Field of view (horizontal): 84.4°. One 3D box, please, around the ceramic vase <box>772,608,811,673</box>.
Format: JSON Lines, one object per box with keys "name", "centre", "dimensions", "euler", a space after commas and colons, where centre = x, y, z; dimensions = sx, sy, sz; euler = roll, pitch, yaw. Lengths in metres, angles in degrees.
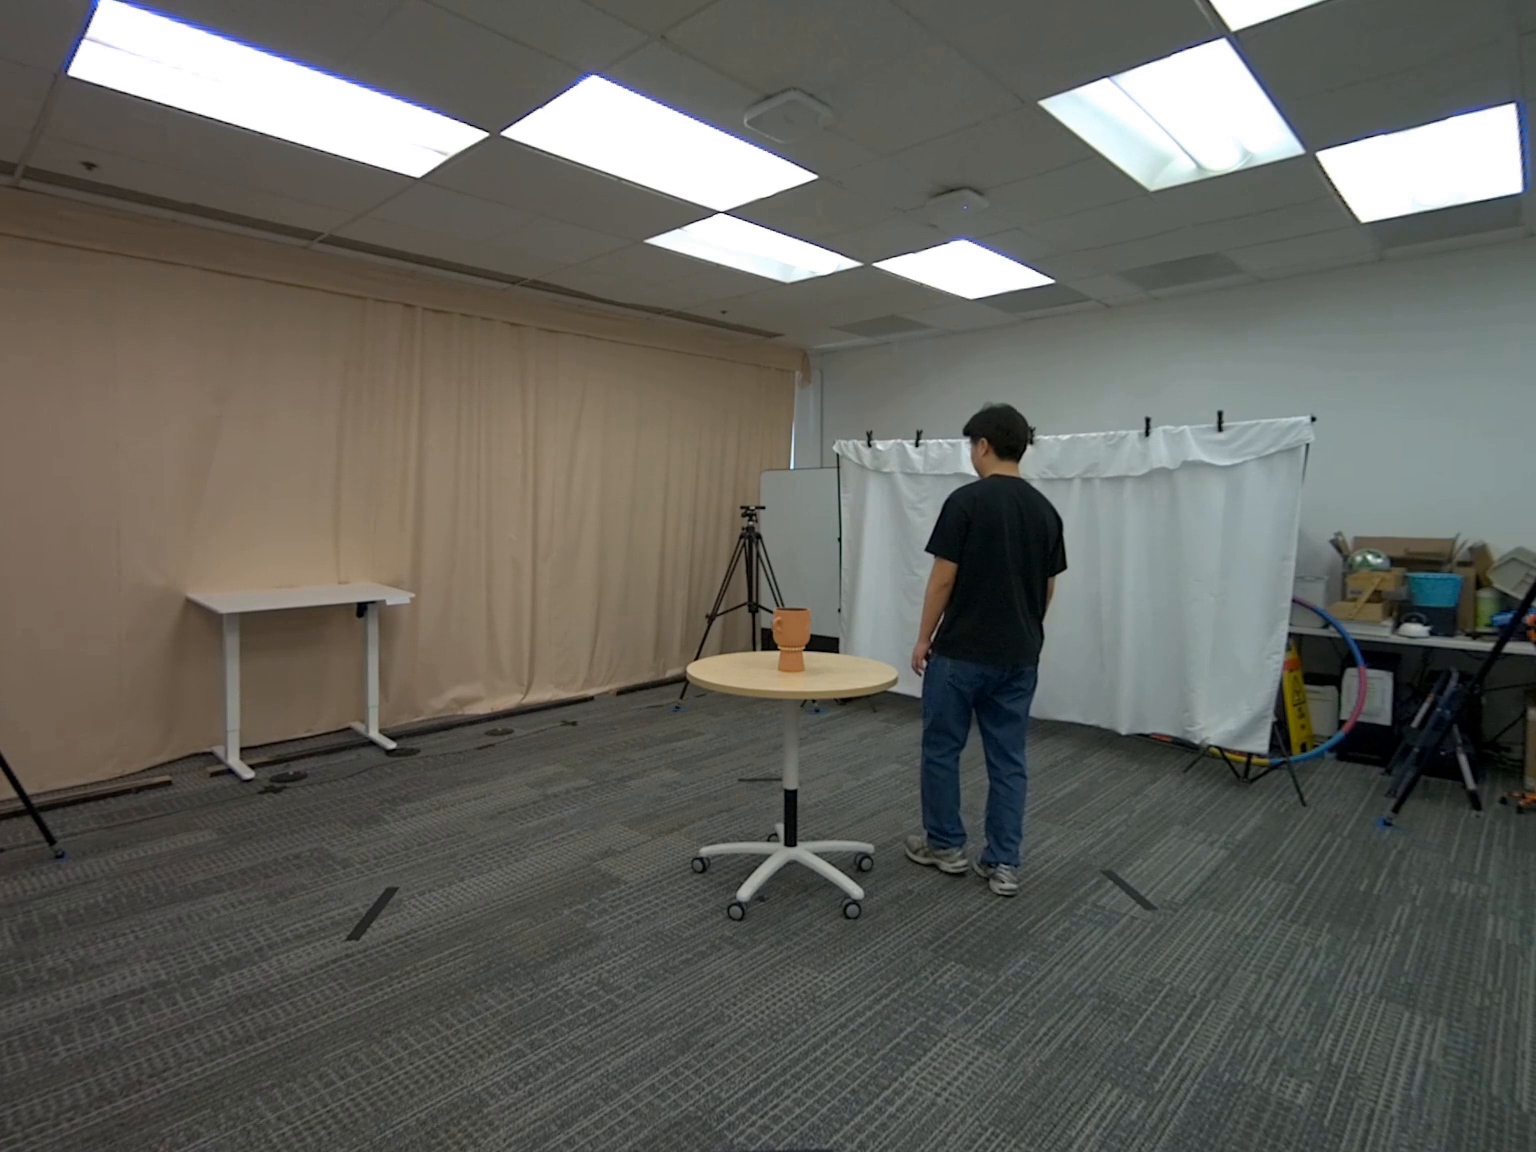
{"name": "ceramic vase", "centre": [0.090, 0.236, 3.056], "dimensions": [0.158, 0.219, 0.135], "euler": [0, 3, -4]}
